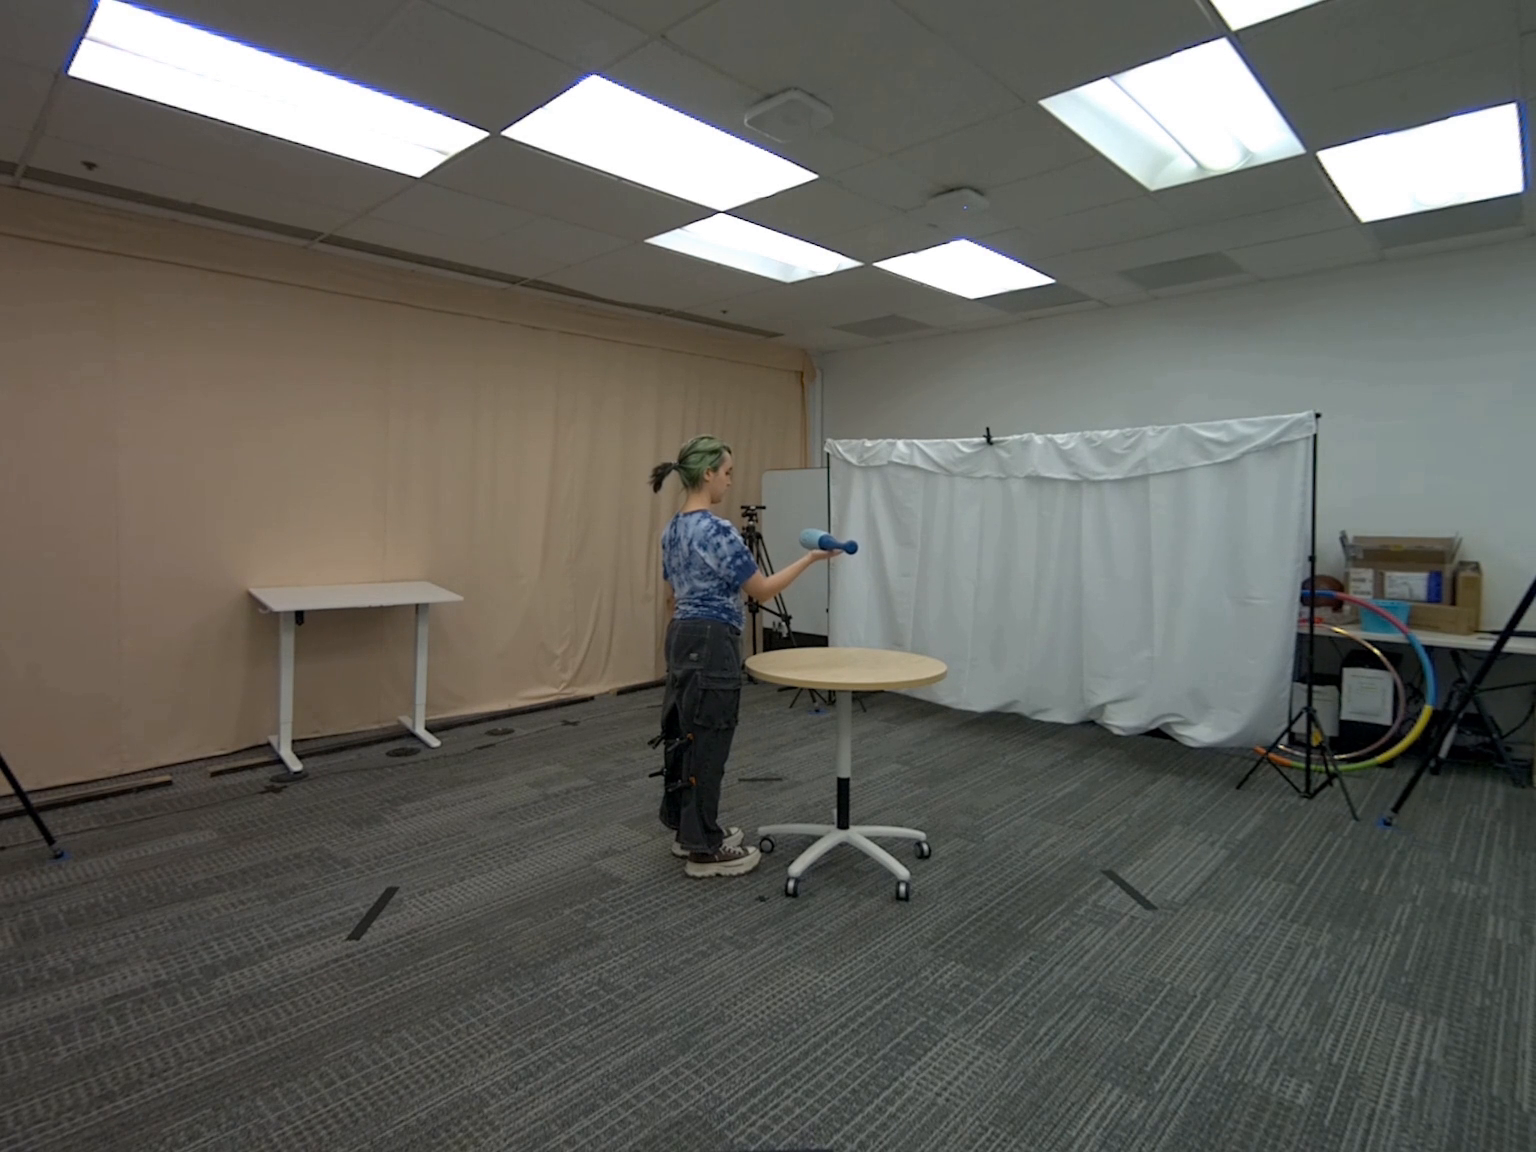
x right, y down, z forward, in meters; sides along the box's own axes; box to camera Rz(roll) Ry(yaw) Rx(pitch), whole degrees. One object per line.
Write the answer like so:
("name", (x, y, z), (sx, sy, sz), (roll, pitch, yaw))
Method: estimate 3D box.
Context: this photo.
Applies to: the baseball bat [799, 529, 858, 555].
("baseball bat", (0.241, -0.120, 3.204), (0.088, 0.089, 0.552), (-1, 7, -14))
